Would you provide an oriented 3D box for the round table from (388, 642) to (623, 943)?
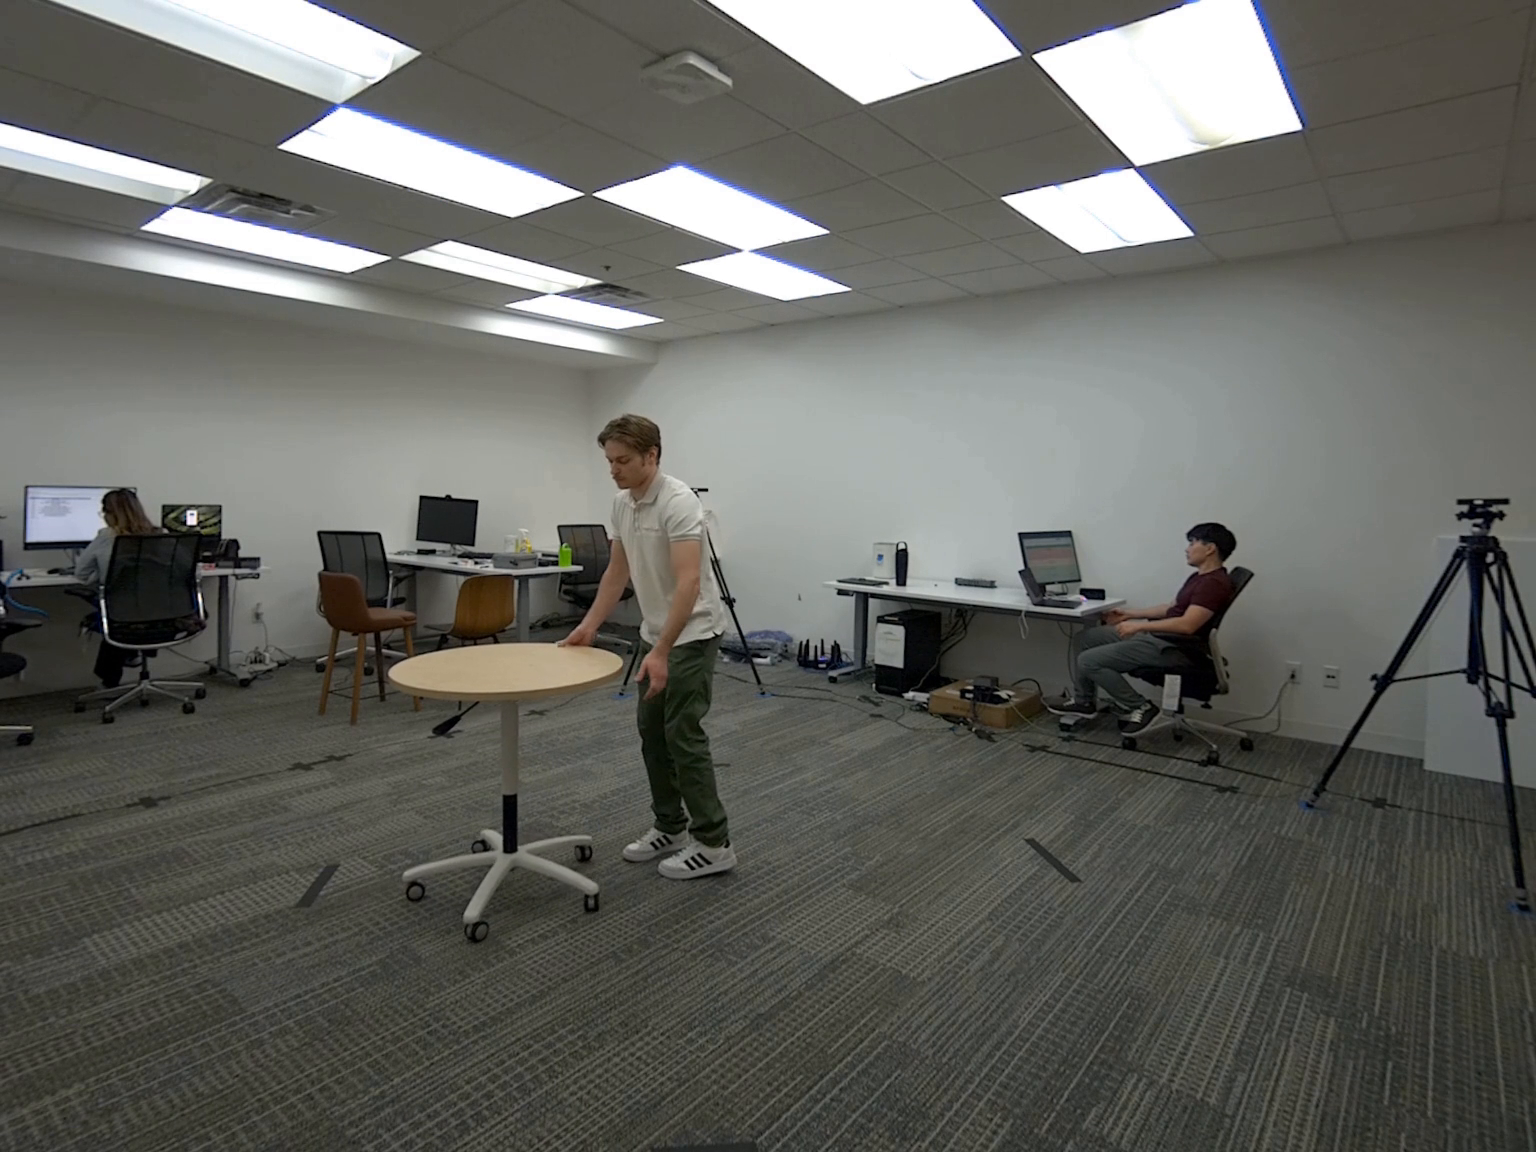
[{"bbox_3d":[-0.882,0.691,2.887,0.763,0.791,0.768,0,5,-2],"label":"round table"}]
